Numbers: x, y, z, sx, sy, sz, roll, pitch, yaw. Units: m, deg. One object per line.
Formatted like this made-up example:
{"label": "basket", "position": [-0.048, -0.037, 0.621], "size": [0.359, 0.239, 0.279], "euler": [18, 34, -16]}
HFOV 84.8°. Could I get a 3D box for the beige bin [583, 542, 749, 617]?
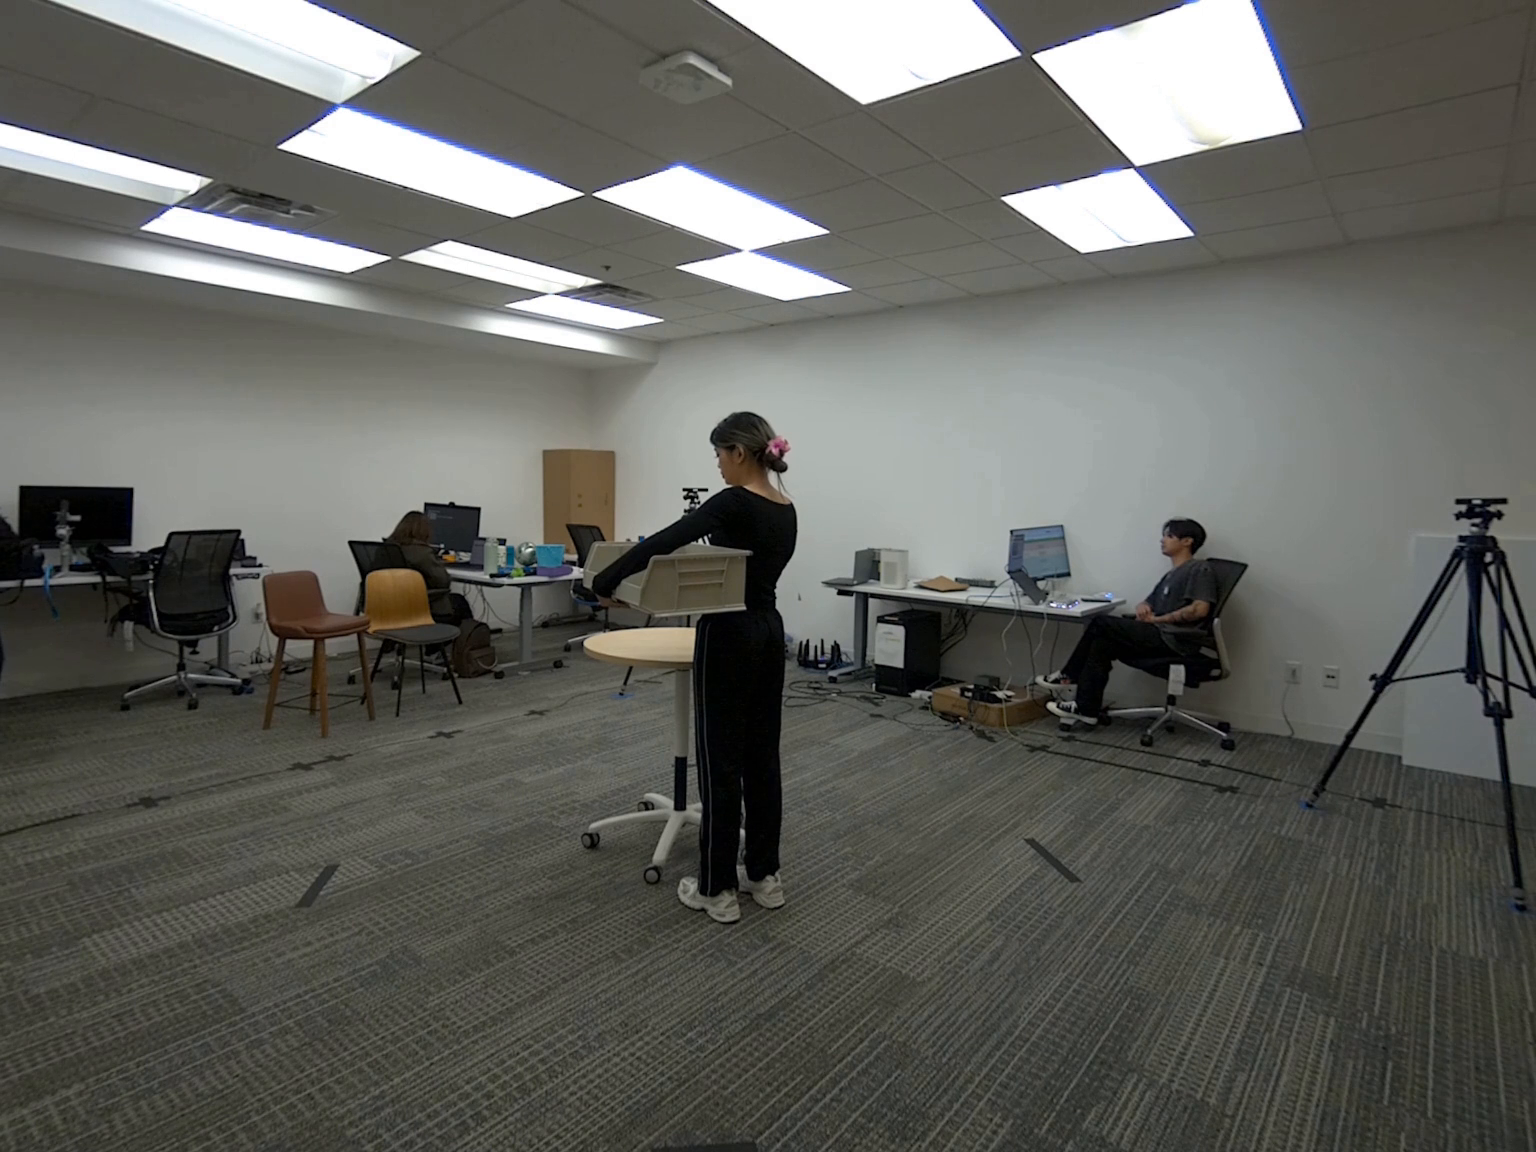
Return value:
{"label": "beige bin", "position": [-0.337, 0.000, 2.660], "size": [0.367, 0.188, 0.436], "euler": [-2, 7, -33]}
